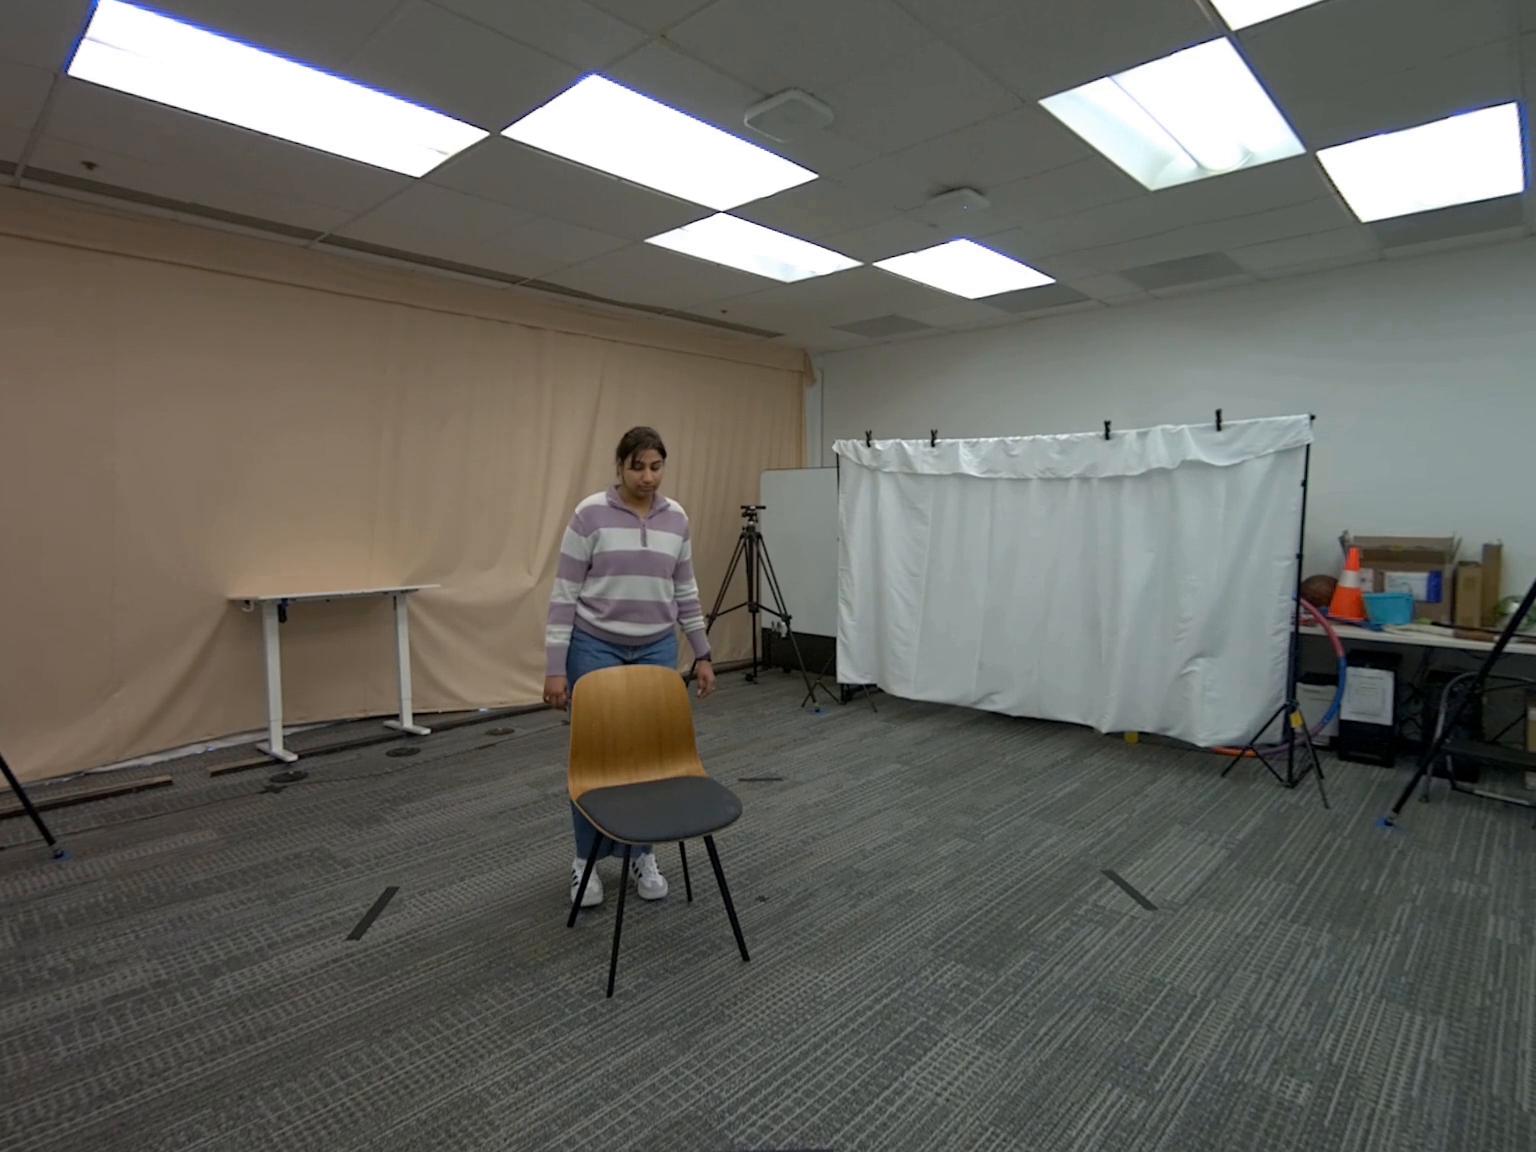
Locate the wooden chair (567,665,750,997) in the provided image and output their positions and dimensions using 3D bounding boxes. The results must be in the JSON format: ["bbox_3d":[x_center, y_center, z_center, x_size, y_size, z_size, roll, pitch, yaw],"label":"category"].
[{"bbox_3d":[-0.352,0.748,2.642,0.466,0.878,0.536,-2,-1,-27],"label":"wooden chair"}]
